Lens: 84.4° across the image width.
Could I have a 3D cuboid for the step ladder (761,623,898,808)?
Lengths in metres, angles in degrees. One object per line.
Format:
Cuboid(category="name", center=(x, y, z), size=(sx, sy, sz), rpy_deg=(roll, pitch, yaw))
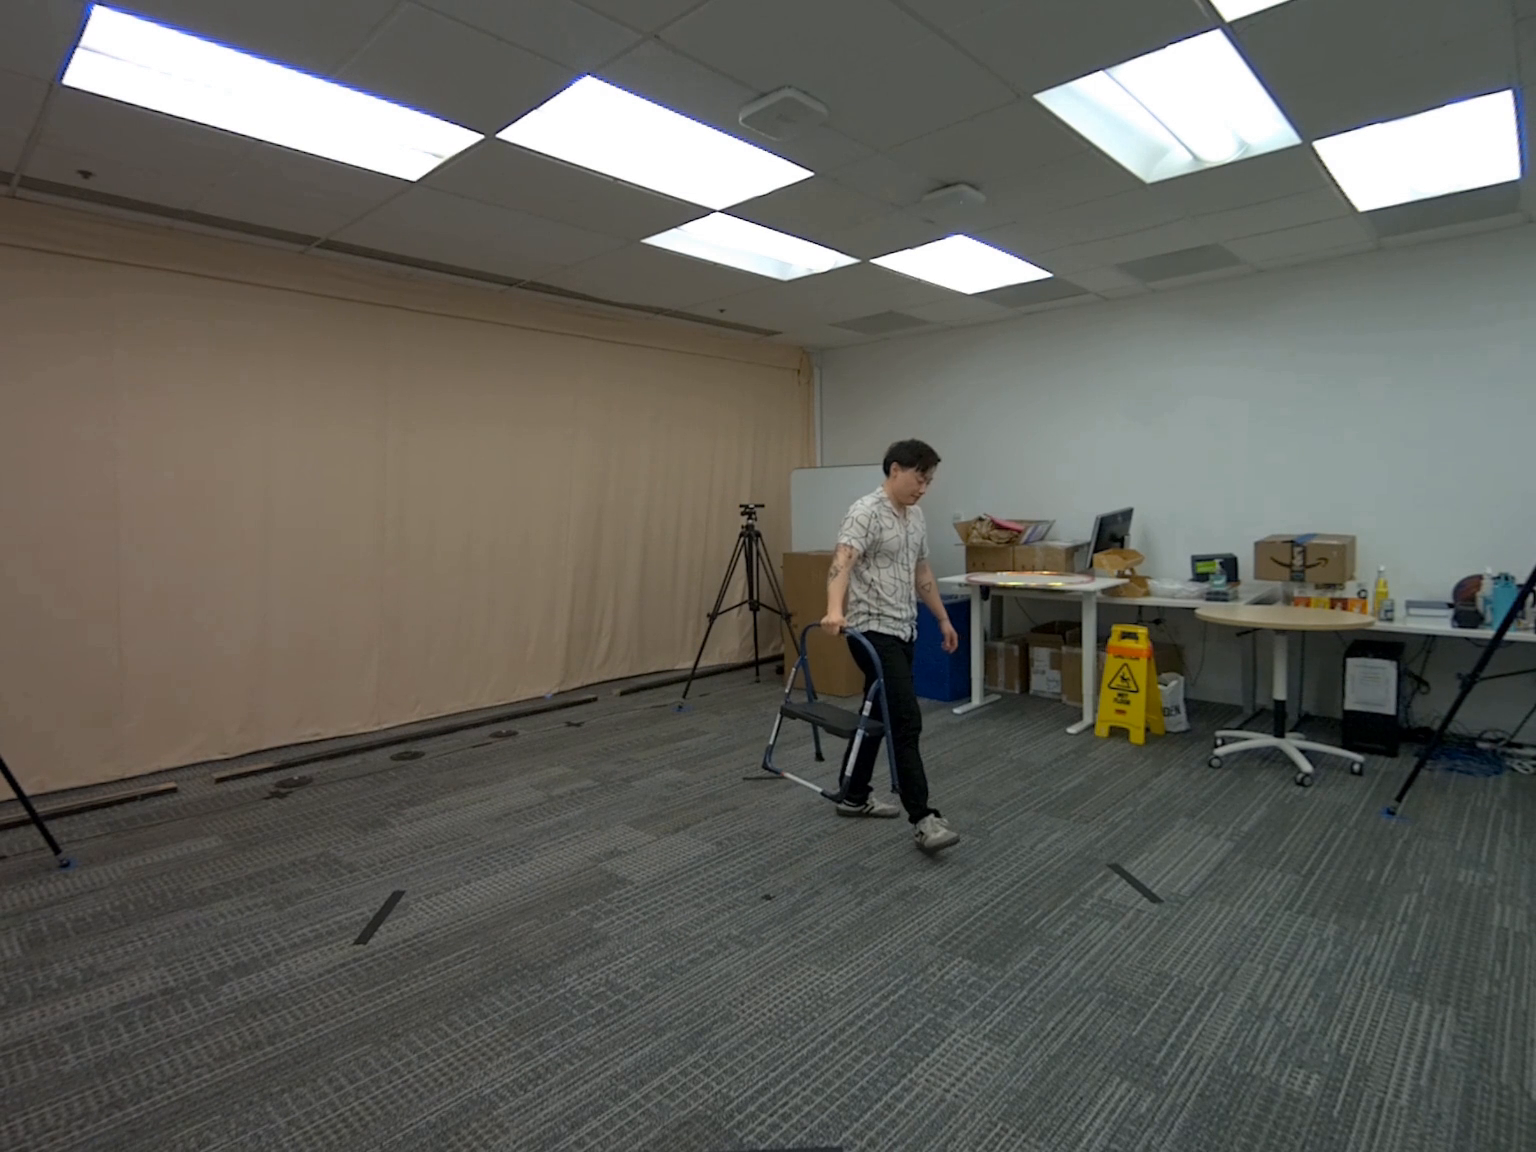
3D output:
Cuboid(category="step ladder", center=(0.276, 0.493, 3.206), size=(0.338, 0.605, 0.446), rpy_deg=(3, 5, -43))
